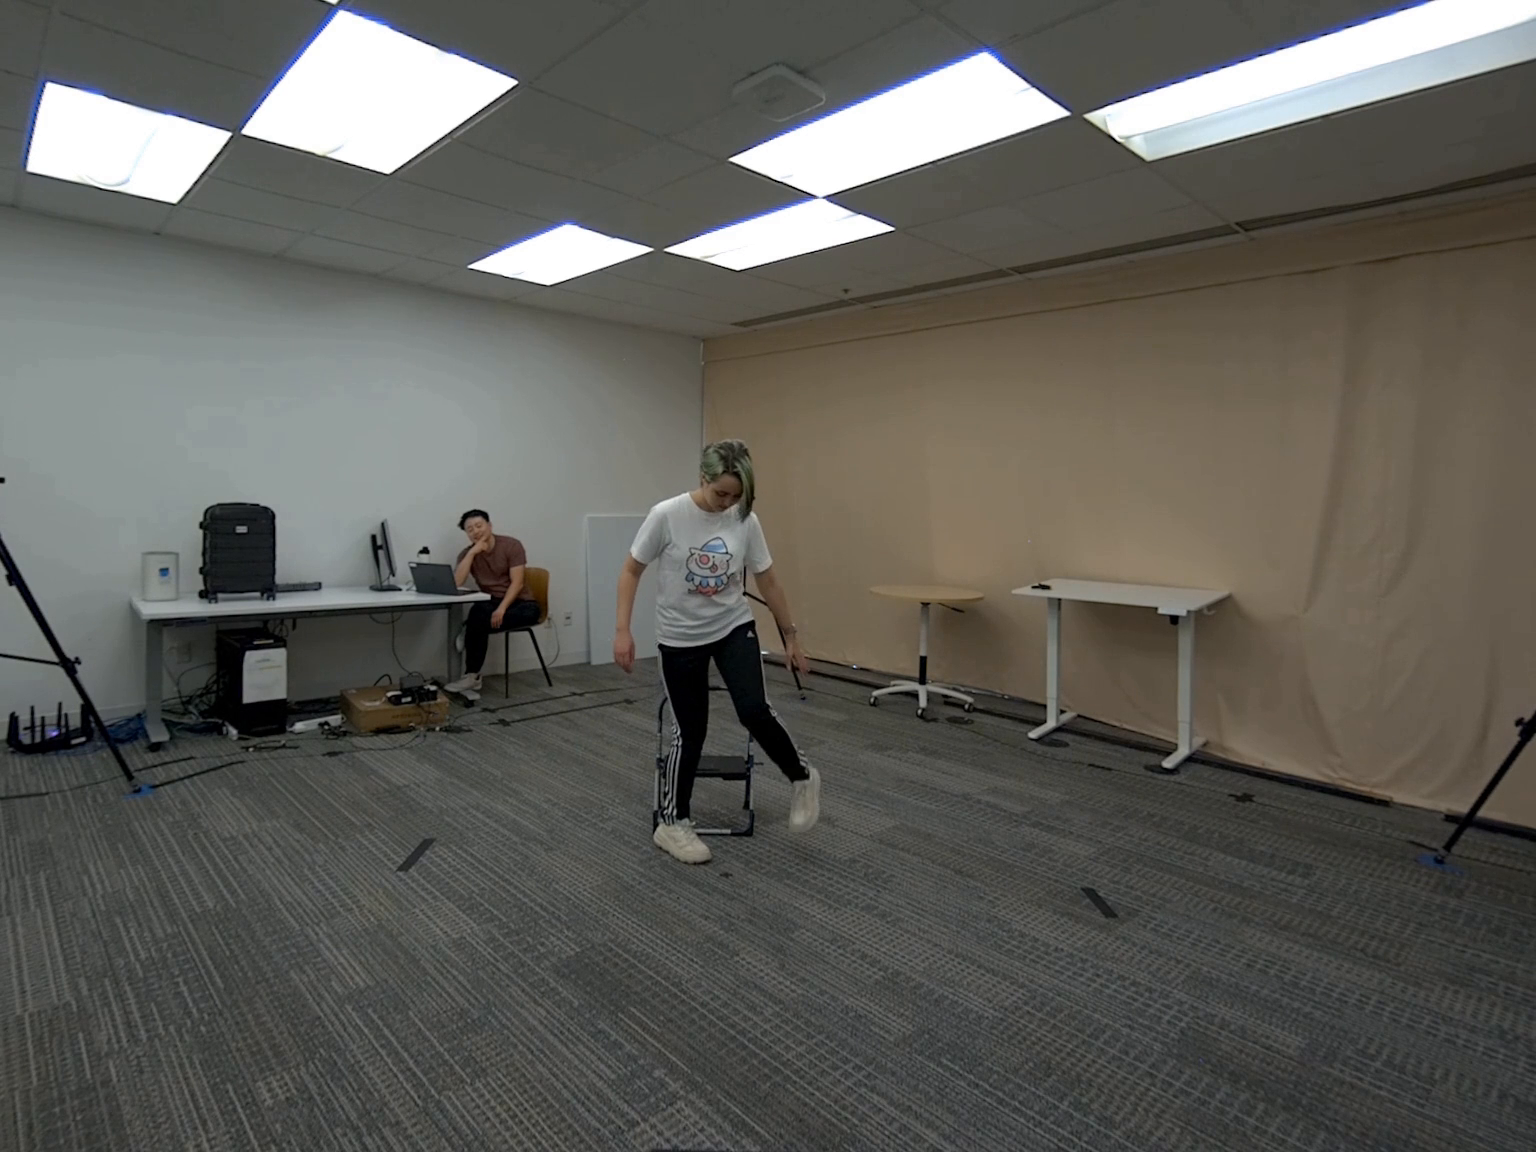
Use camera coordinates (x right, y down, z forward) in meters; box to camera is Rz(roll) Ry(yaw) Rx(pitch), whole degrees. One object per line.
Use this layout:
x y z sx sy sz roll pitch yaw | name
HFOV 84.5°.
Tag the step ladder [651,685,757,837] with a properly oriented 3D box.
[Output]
-0.280 0.760 3.620 0.429 0.605 0.351 1 2 -4 | step ladder
